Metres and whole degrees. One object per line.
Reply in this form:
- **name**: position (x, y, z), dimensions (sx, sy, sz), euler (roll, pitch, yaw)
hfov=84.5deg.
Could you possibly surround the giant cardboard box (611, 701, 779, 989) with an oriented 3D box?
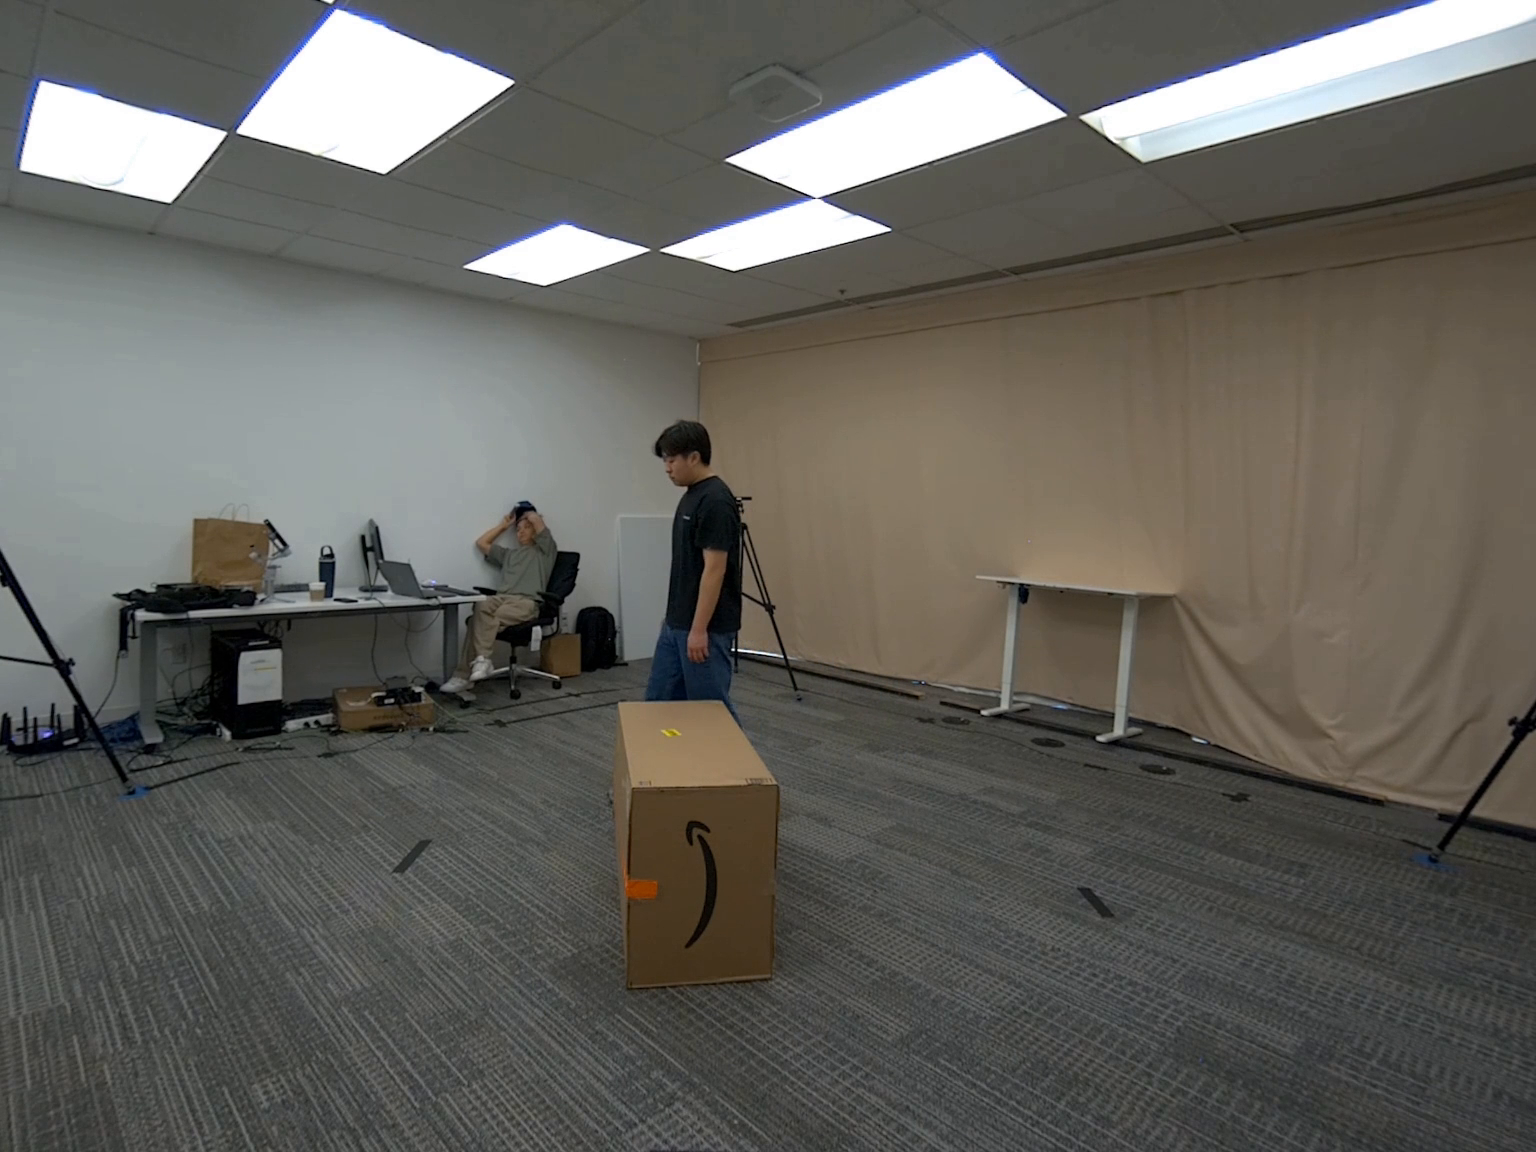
- **giant cardboard box**: position (-0.298, 0.835, 2.887), dimensions (0.443, 0.582, 1.039), euler (0, 4, -13)
